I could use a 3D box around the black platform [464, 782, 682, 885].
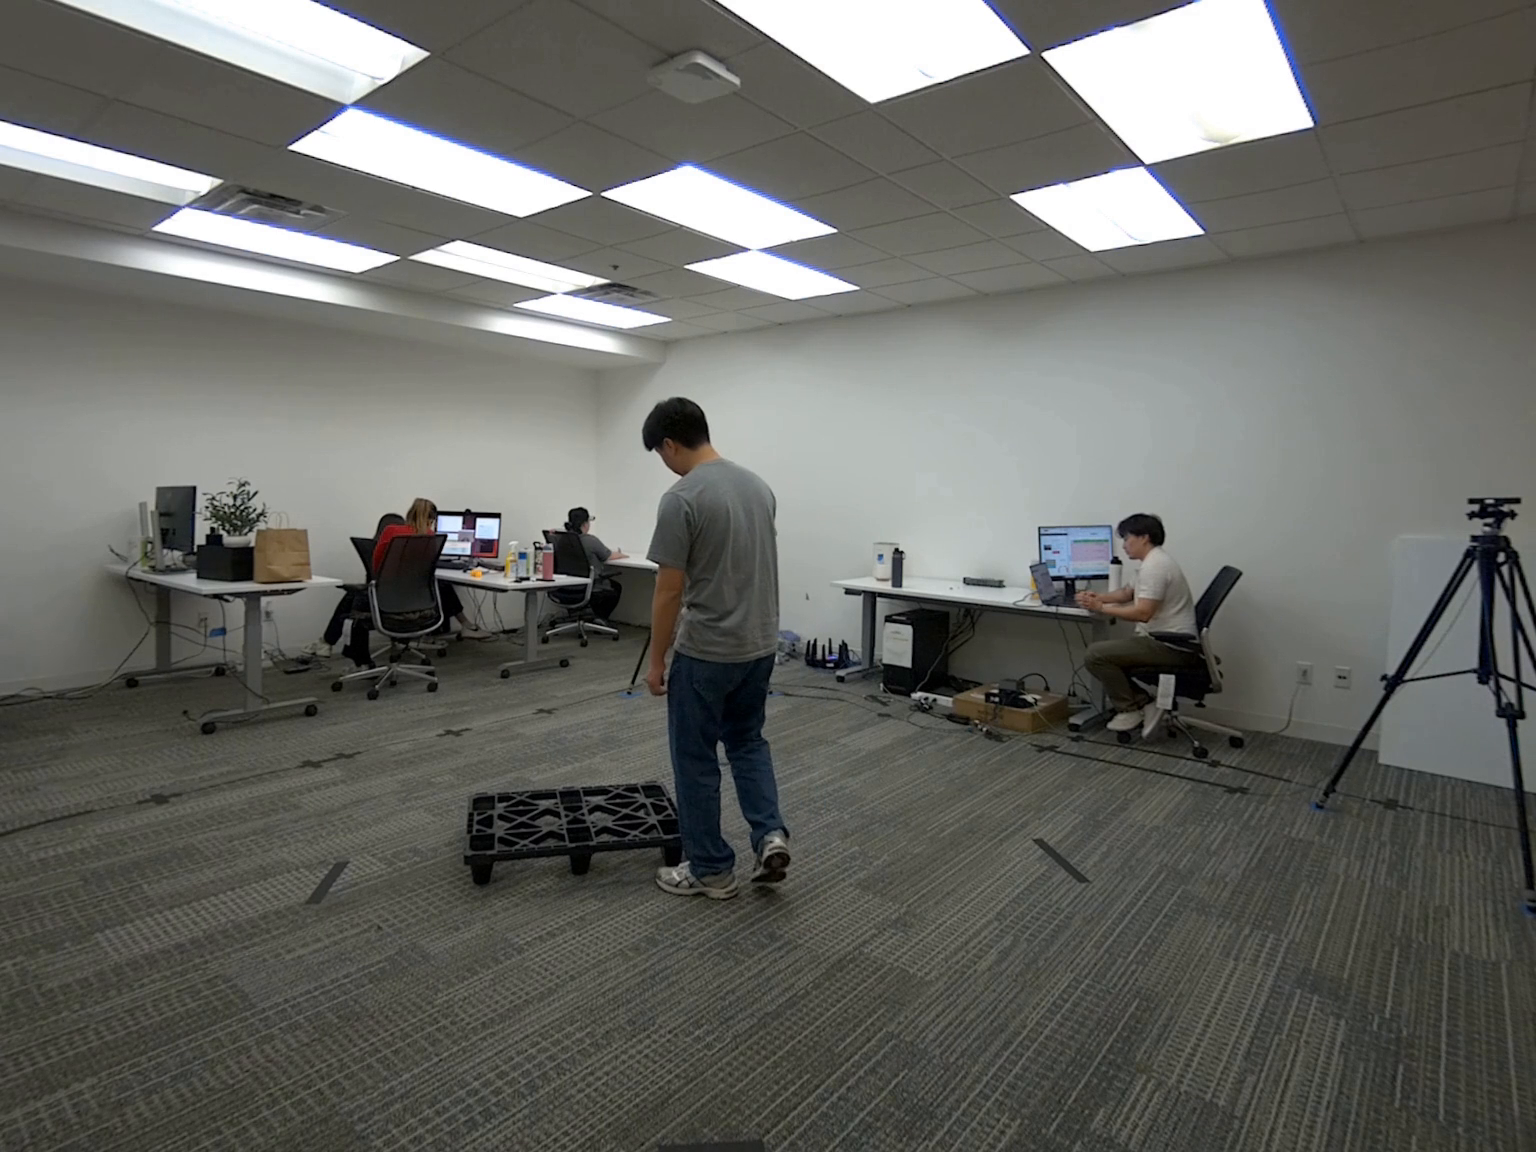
[{"bbox_3d":[-0.757,0.973,3.263,0.793,0.143,0.617,-1,5,-16],"label":"black platform"}]
